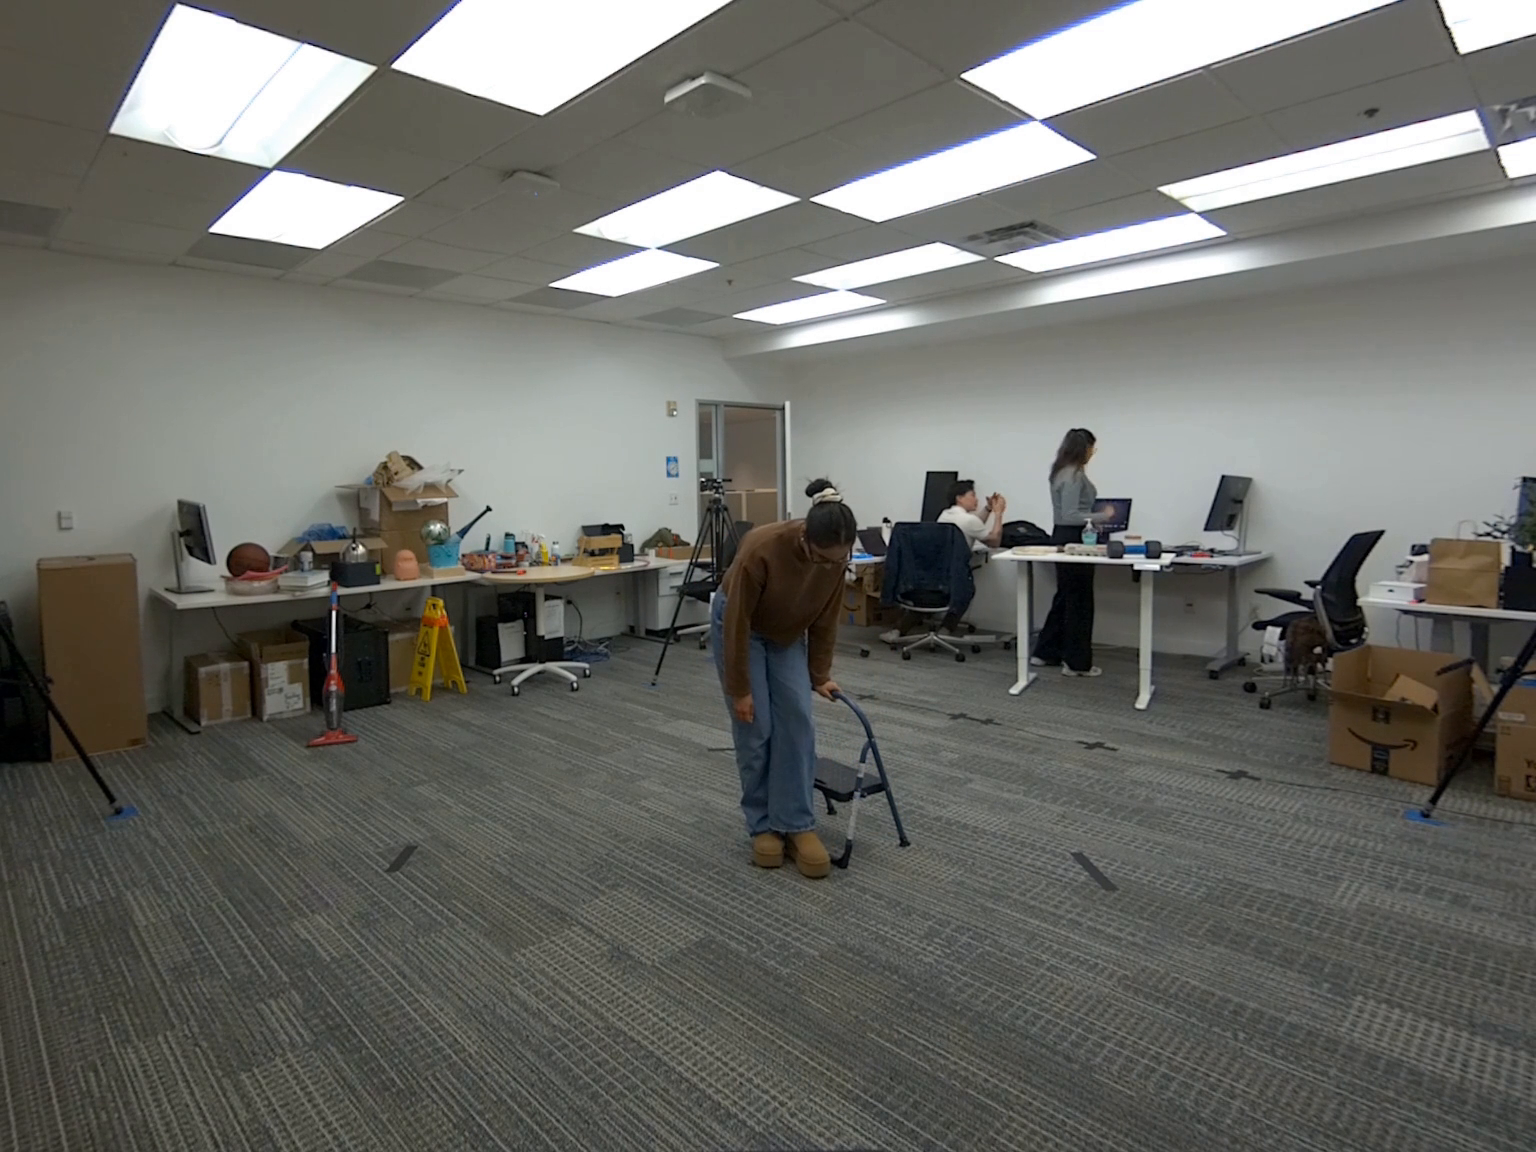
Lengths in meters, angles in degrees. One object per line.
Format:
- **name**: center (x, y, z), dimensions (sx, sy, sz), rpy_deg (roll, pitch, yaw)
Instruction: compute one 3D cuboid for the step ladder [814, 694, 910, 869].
- **step ladder**: center (0.272, 0.712, 3.292), dimensions (0.340, 0.603, 0.444), rpy_deg (-5, 6, -38)
